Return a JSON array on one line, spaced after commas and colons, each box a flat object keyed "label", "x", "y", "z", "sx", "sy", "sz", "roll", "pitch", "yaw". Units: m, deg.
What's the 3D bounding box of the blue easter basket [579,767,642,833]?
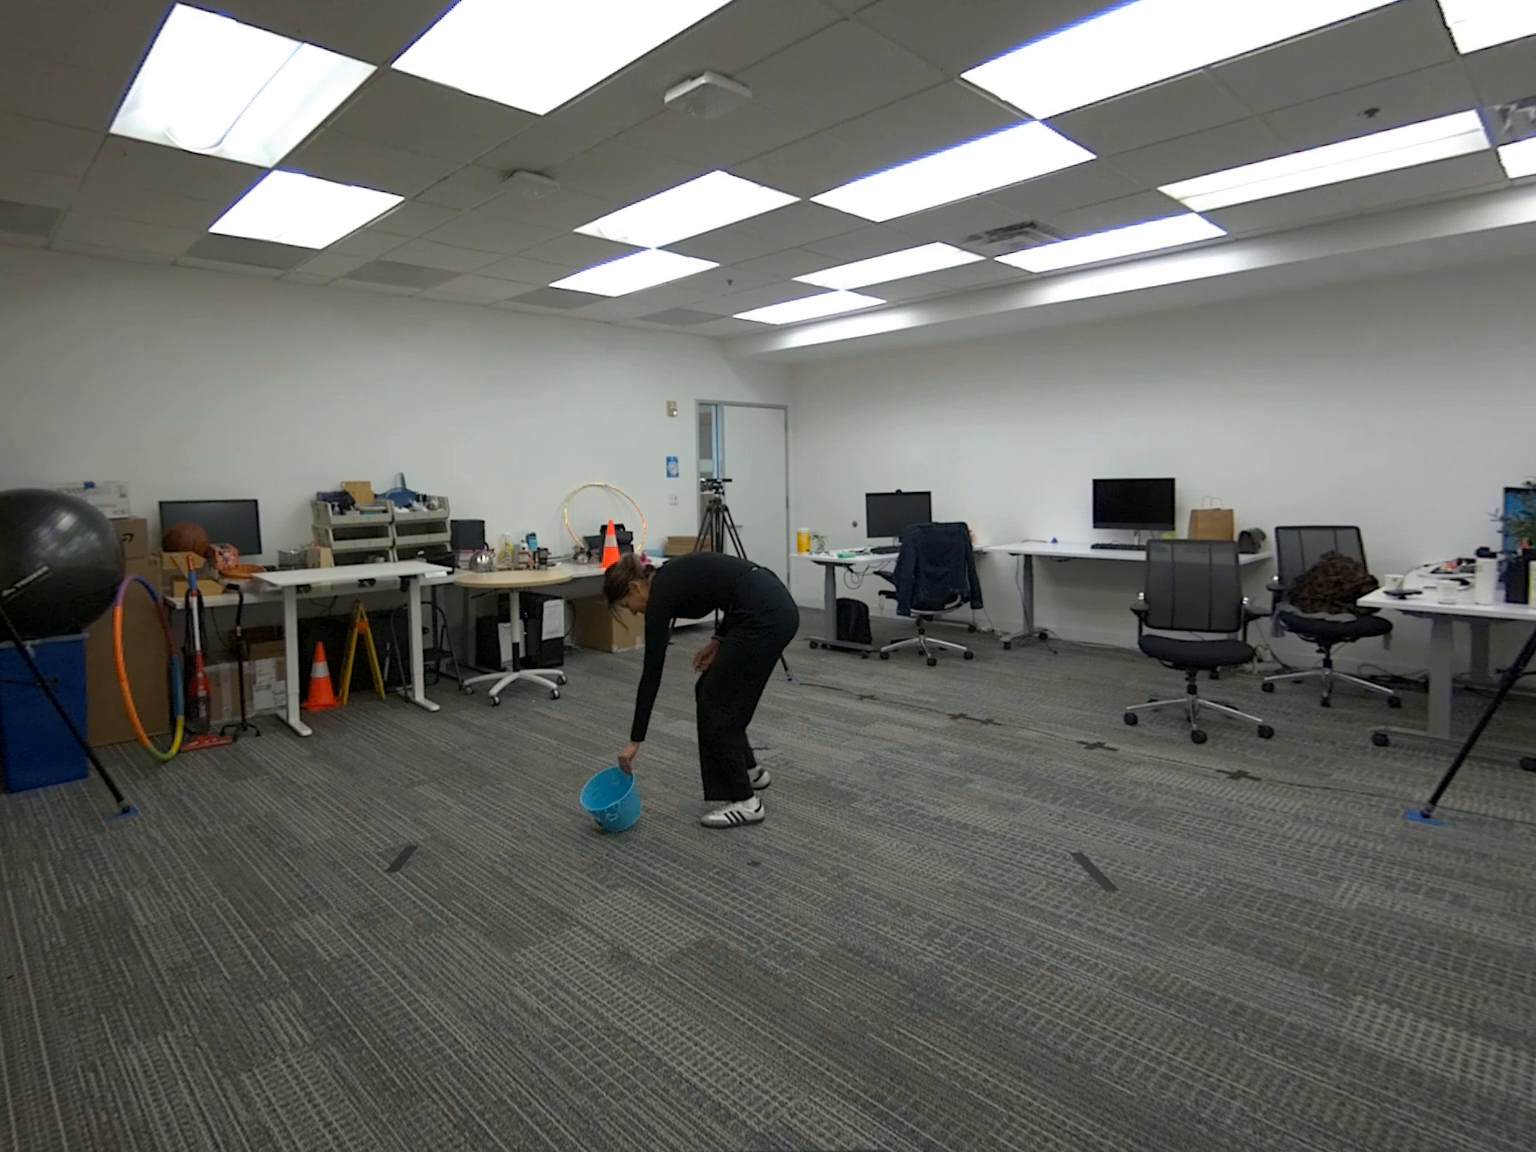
[{"label": "blue easter basket", "x": -0.634, "y": 0.916, "z": 3.438, "sx": 0.244, "sy": 0.152, "sz": 0.248, "roll": -18, "pitch": 23, "yaw": 6}]
